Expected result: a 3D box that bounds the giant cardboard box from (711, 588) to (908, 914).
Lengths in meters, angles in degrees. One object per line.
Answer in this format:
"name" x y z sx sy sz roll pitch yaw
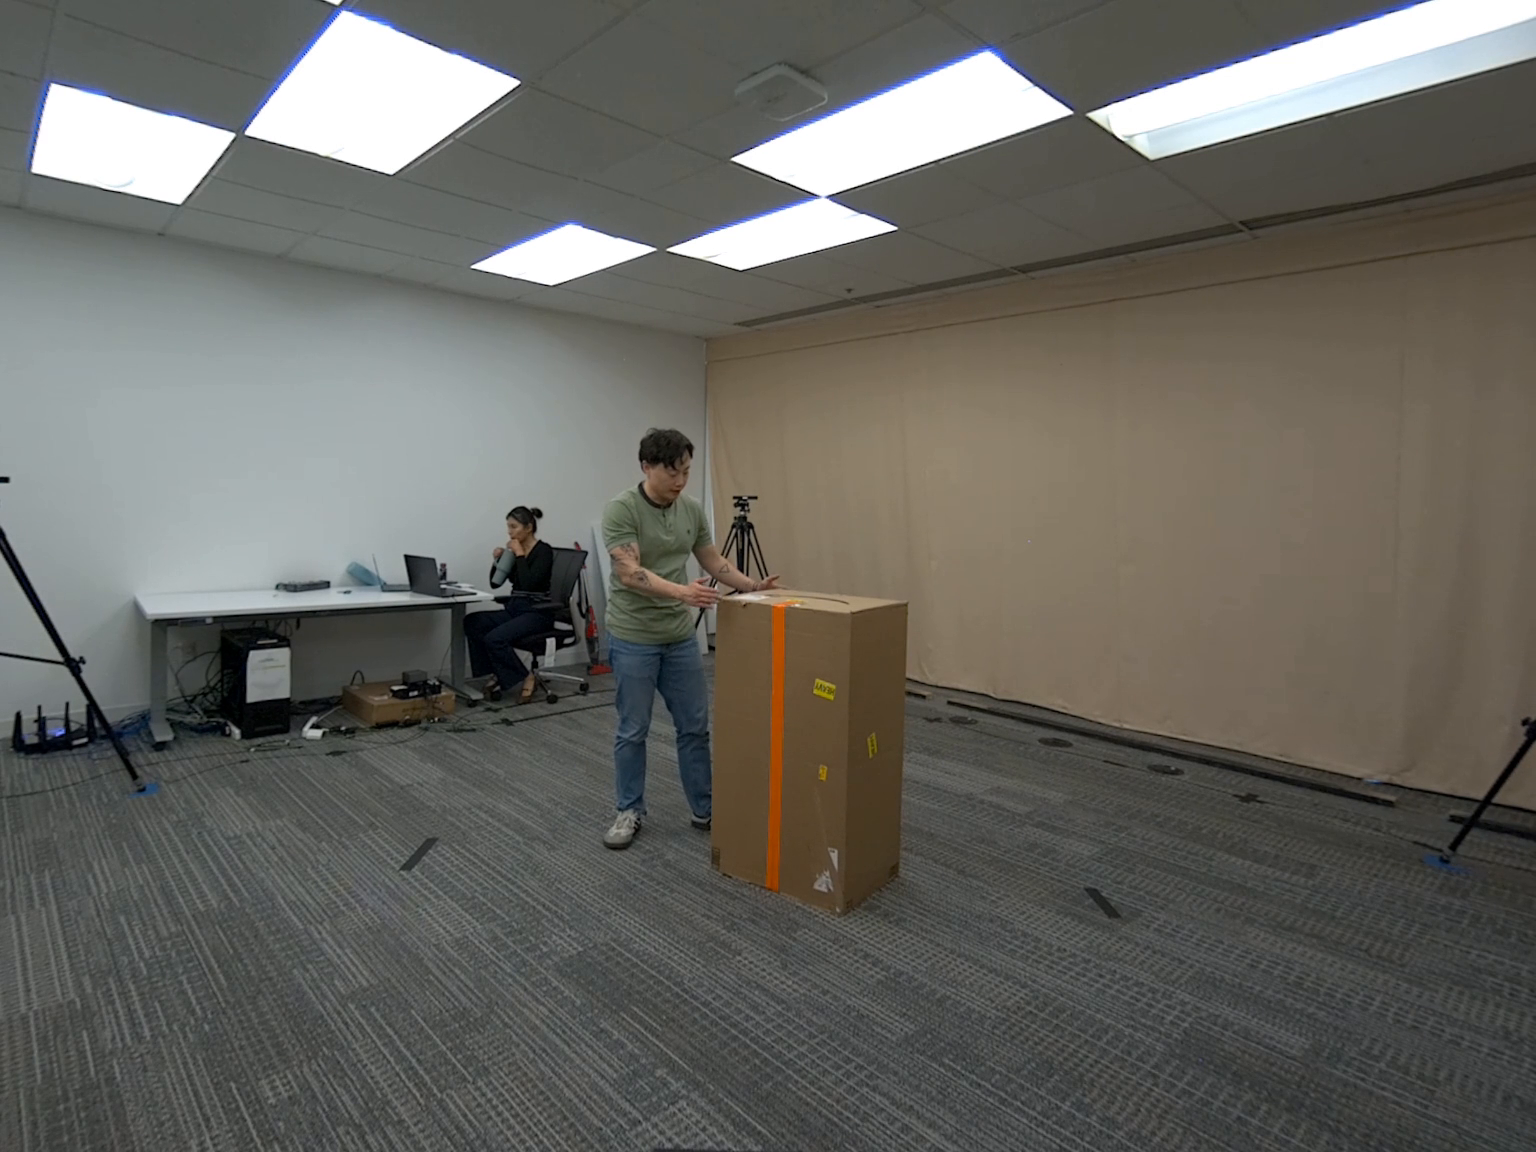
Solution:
"giant cardboard box" 0.143 0.597 3.117 0.591 1.023 0.417 3 4 36
